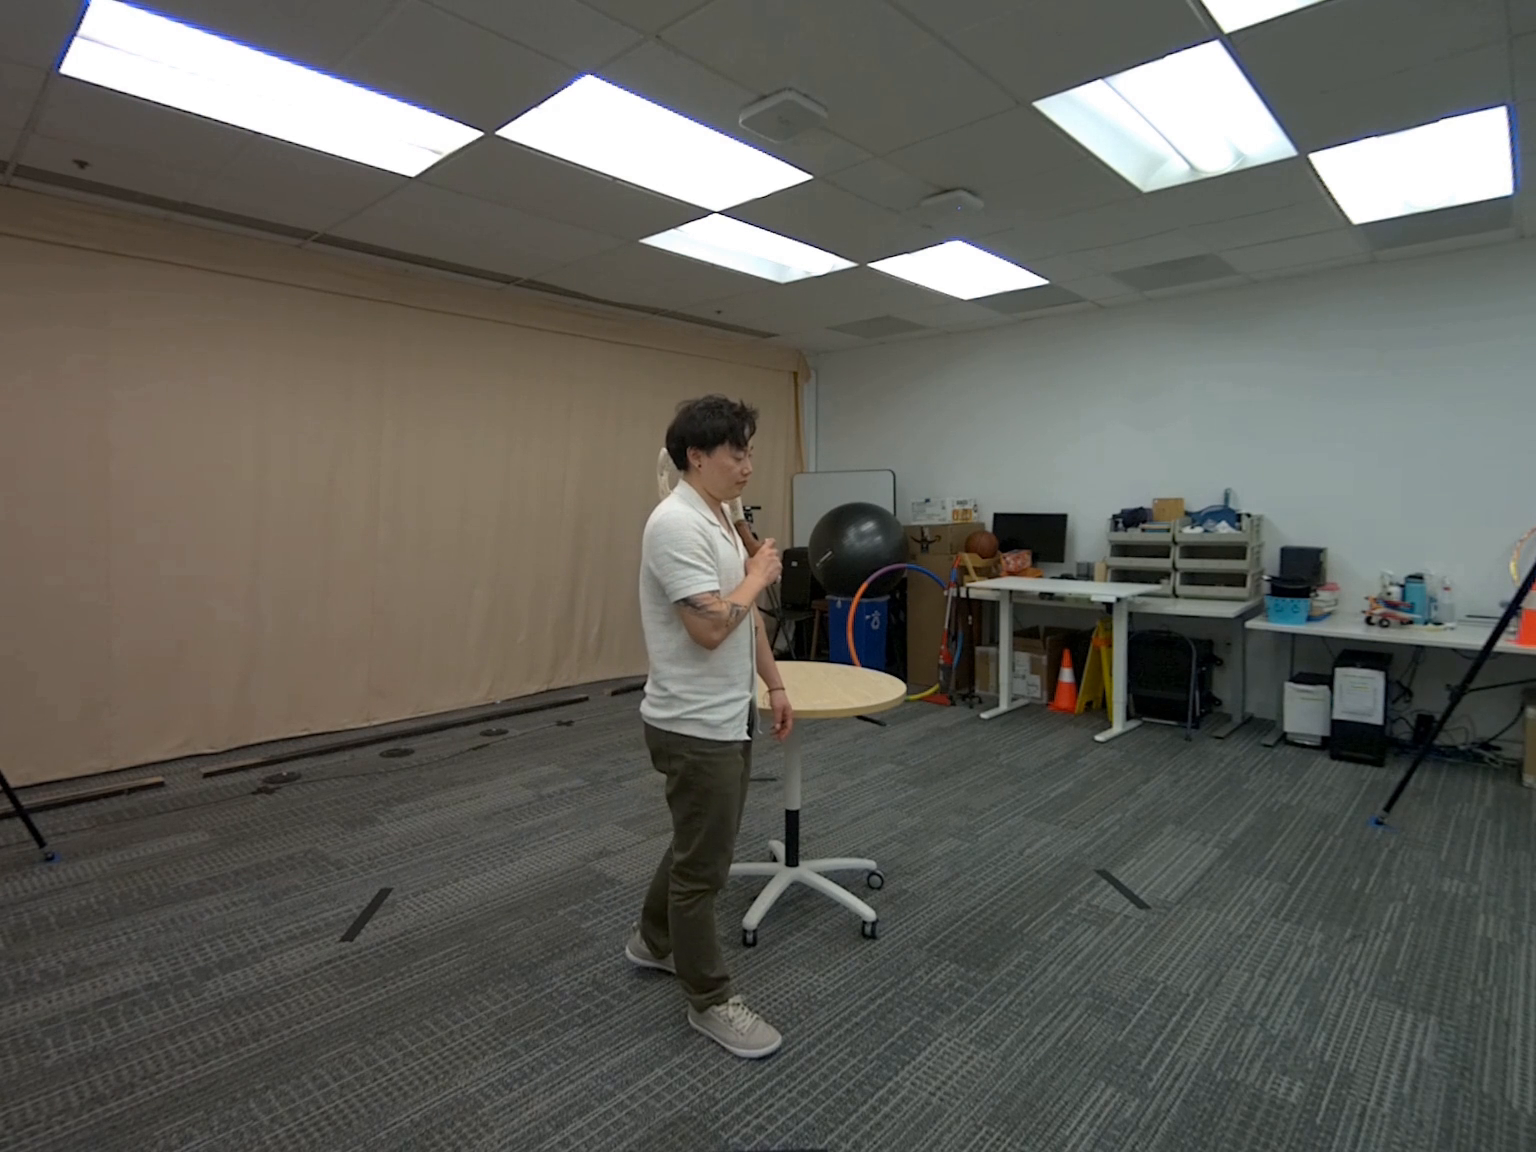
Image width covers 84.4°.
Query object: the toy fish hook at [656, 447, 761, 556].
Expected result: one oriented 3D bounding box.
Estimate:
[{"bbox_3d":[-0.128,-0.170,2.310,0.226,0.516,0.047,-34,-17,9],"label":"toy fish hook"}]
